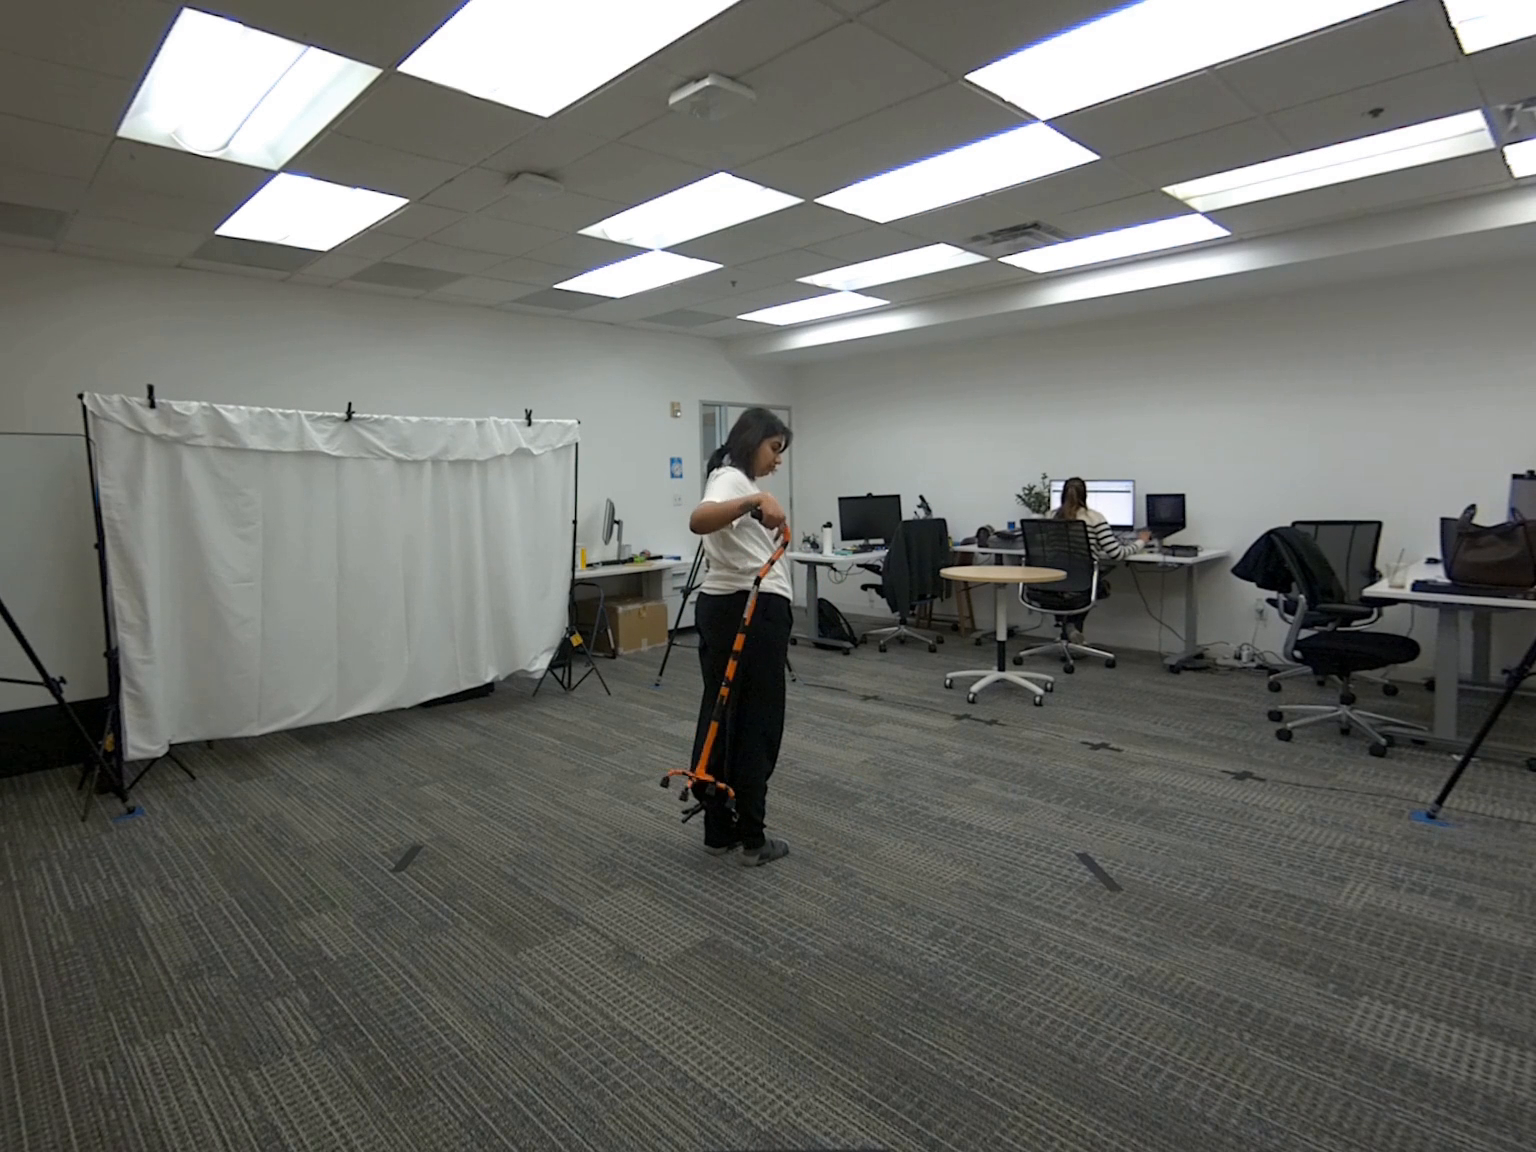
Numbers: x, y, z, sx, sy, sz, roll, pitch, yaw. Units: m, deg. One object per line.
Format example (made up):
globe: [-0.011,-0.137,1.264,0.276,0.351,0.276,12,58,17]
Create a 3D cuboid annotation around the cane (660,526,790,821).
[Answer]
cane: [-0.087,0.268,2.679,0.200,0.910,0.156,17,-4,-33]
